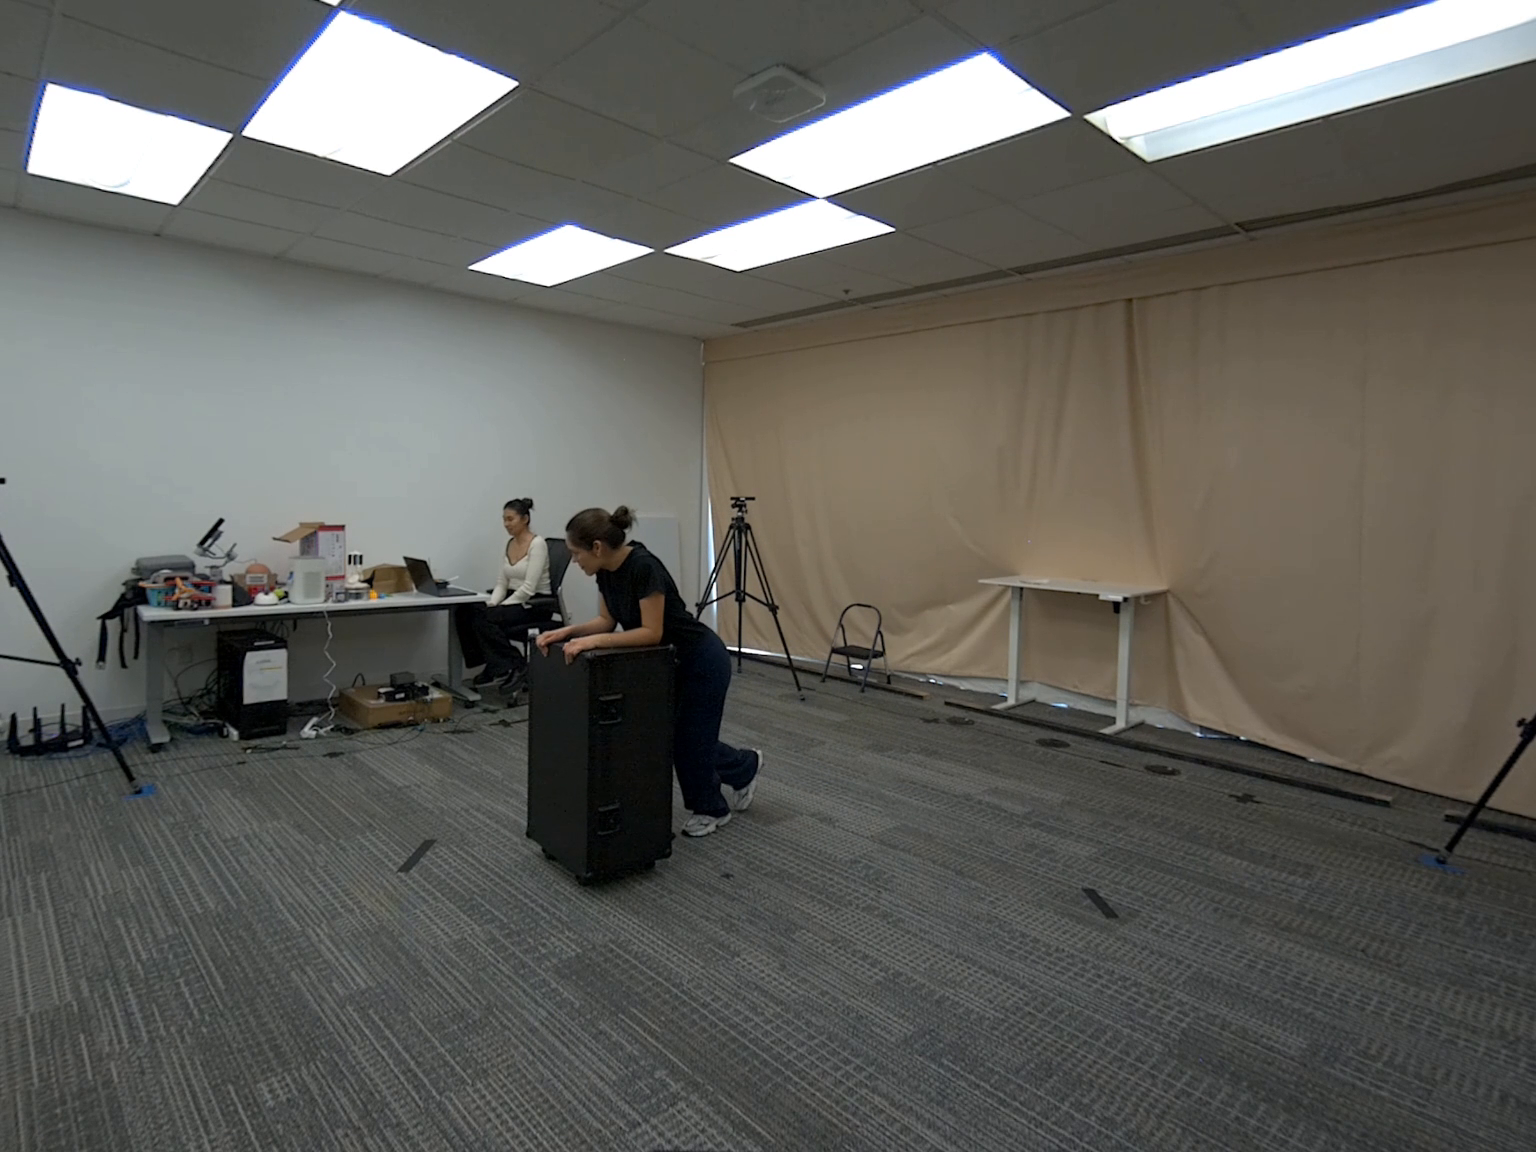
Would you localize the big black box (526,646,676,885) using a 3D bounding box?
[{"bbox_3d":[-0.630,0.613,3.132,0.387,0.859,0.534,-2,5,-40],"label":"big black box"}]
